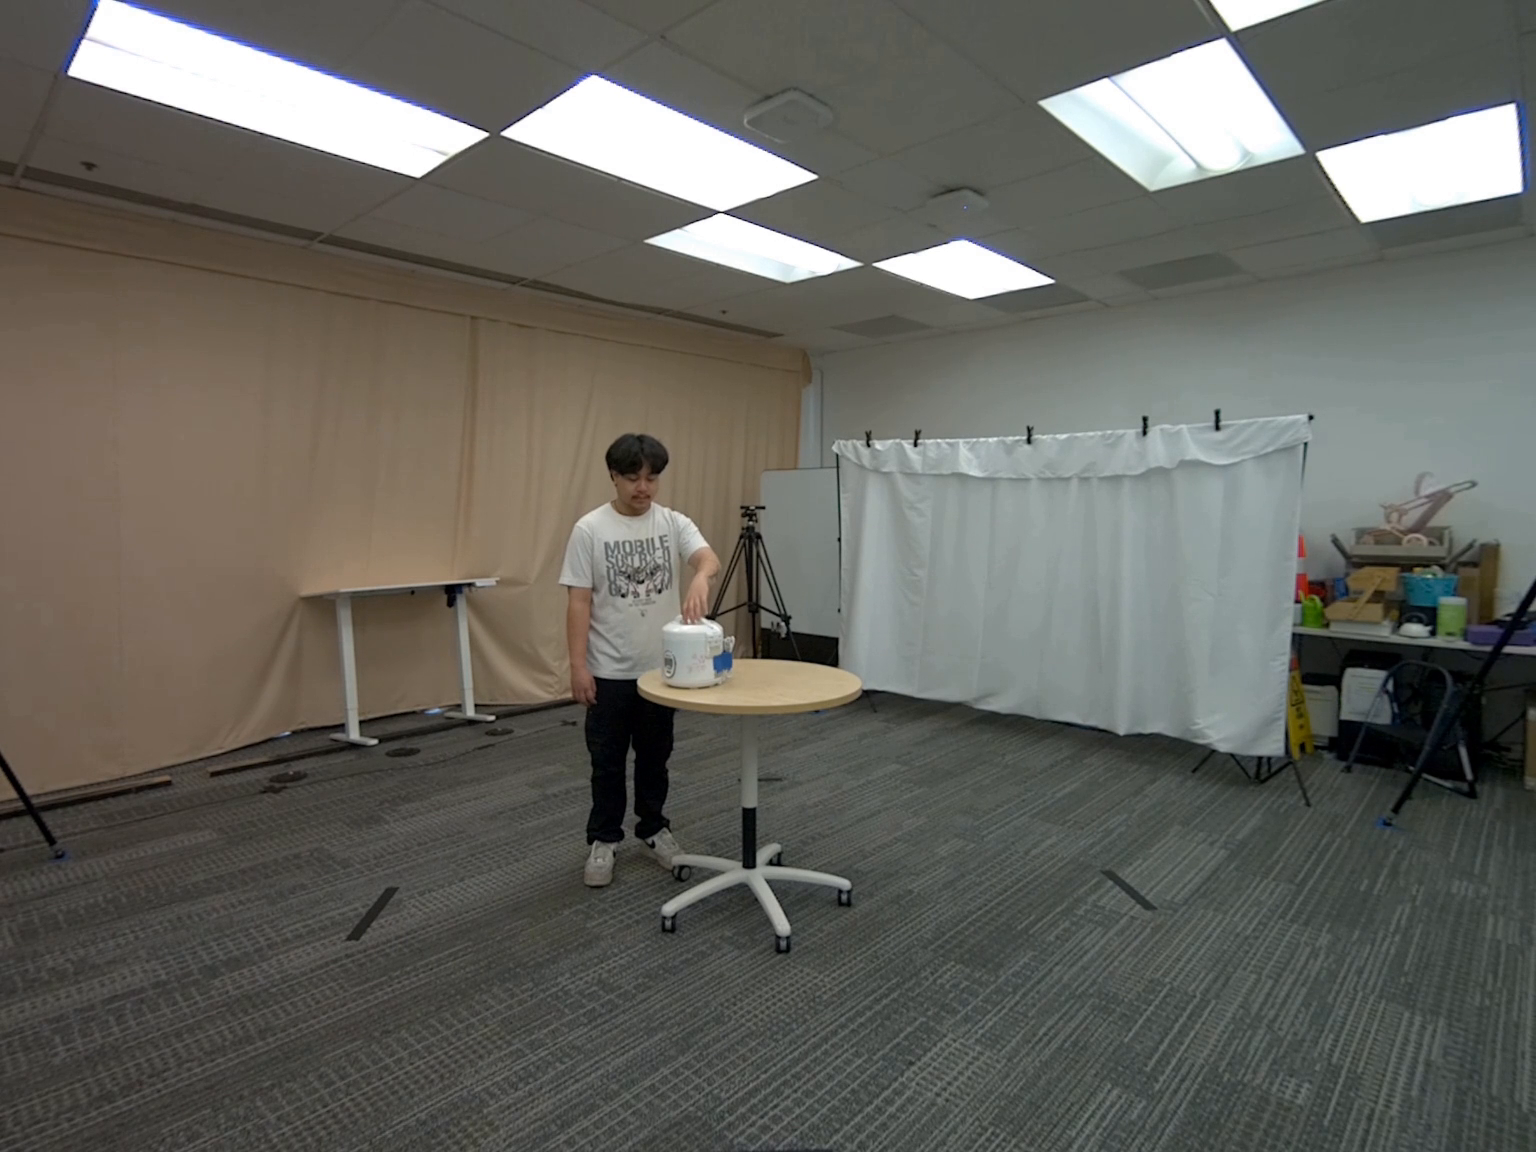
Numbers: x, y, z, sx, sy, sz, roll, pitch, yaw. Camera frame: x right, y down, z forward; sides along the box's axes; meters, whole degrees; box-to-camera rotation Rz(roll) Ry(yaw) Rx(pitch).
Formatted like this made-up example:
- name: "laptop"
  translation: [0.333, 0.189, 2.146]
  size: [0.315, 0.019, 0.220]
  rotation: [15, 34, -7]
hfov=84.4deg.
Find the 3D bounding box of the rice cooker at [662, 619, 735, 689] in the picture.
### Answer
- name: "rice cooker"
  translation: [-0.246, 0.247, 2.811]
  size: [0.228, 0.232, 0.211]
  rotation: [3, 4, 42]
